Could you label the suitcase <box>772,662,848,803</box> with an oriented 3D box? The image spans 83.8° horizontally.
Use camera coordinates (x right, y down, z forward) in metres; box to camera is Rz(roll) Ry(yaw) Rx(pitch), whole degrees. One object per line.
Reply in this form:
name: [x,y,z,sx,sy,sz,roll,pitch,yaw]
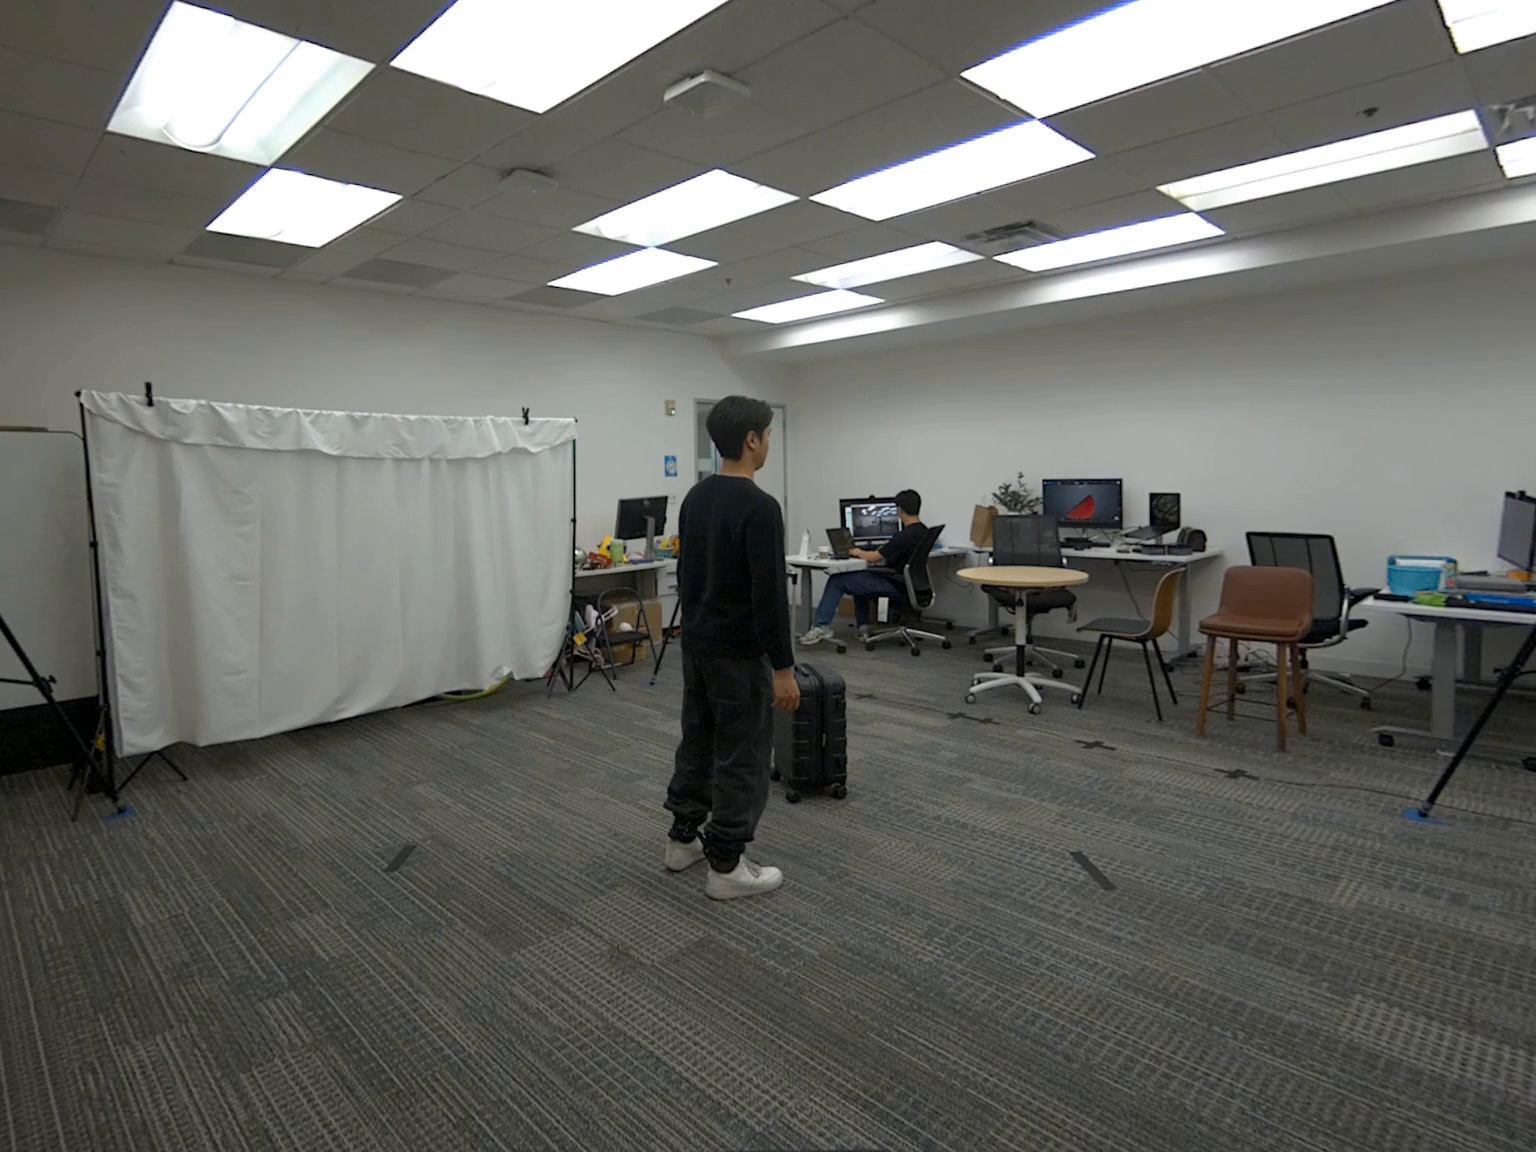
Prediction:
suitcase: [0.197,0.483,3.842,0.254,0.977,0.389,0,2,-13]
